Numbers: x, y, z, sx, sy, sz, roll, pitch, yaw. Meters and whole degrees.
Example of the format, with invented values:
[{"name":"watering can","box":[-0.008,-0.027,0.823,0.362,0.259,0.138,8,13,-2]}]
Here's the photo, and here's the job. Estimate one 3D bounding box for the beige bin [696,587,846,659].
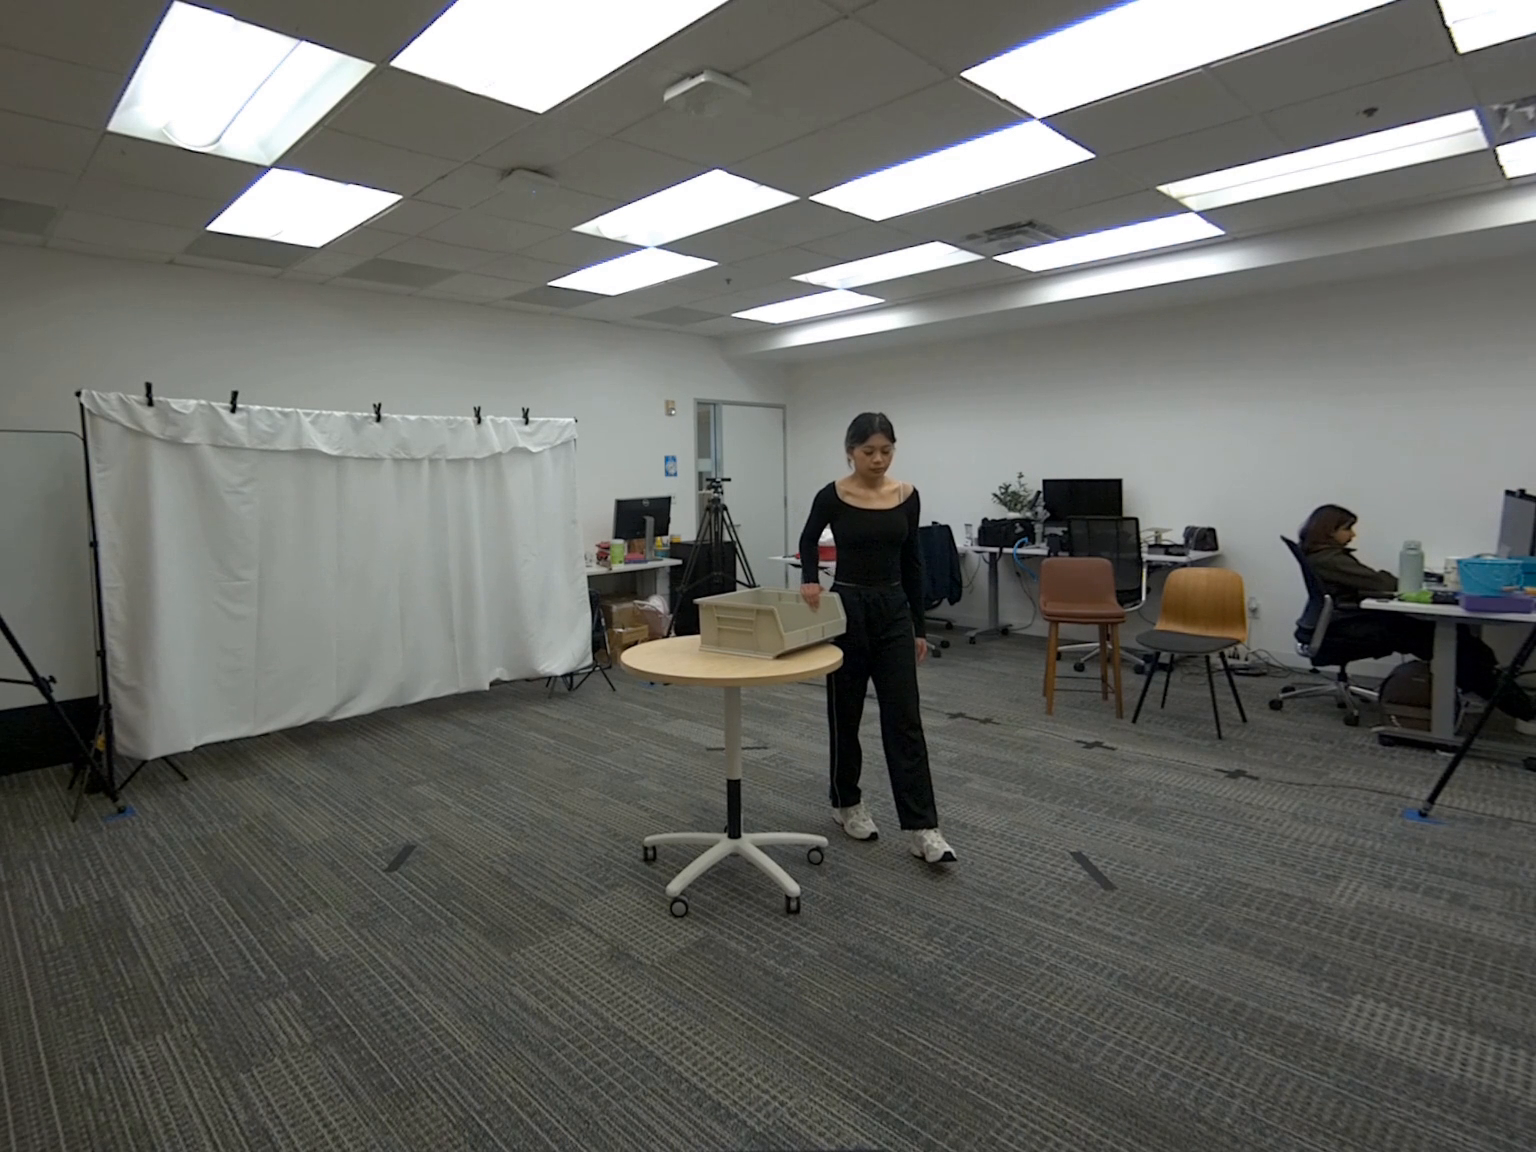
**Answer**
[{"name":"beige bin","box":[0.015,0.162,3.071,0.388,0.188,0.412,1,7,35]}]
